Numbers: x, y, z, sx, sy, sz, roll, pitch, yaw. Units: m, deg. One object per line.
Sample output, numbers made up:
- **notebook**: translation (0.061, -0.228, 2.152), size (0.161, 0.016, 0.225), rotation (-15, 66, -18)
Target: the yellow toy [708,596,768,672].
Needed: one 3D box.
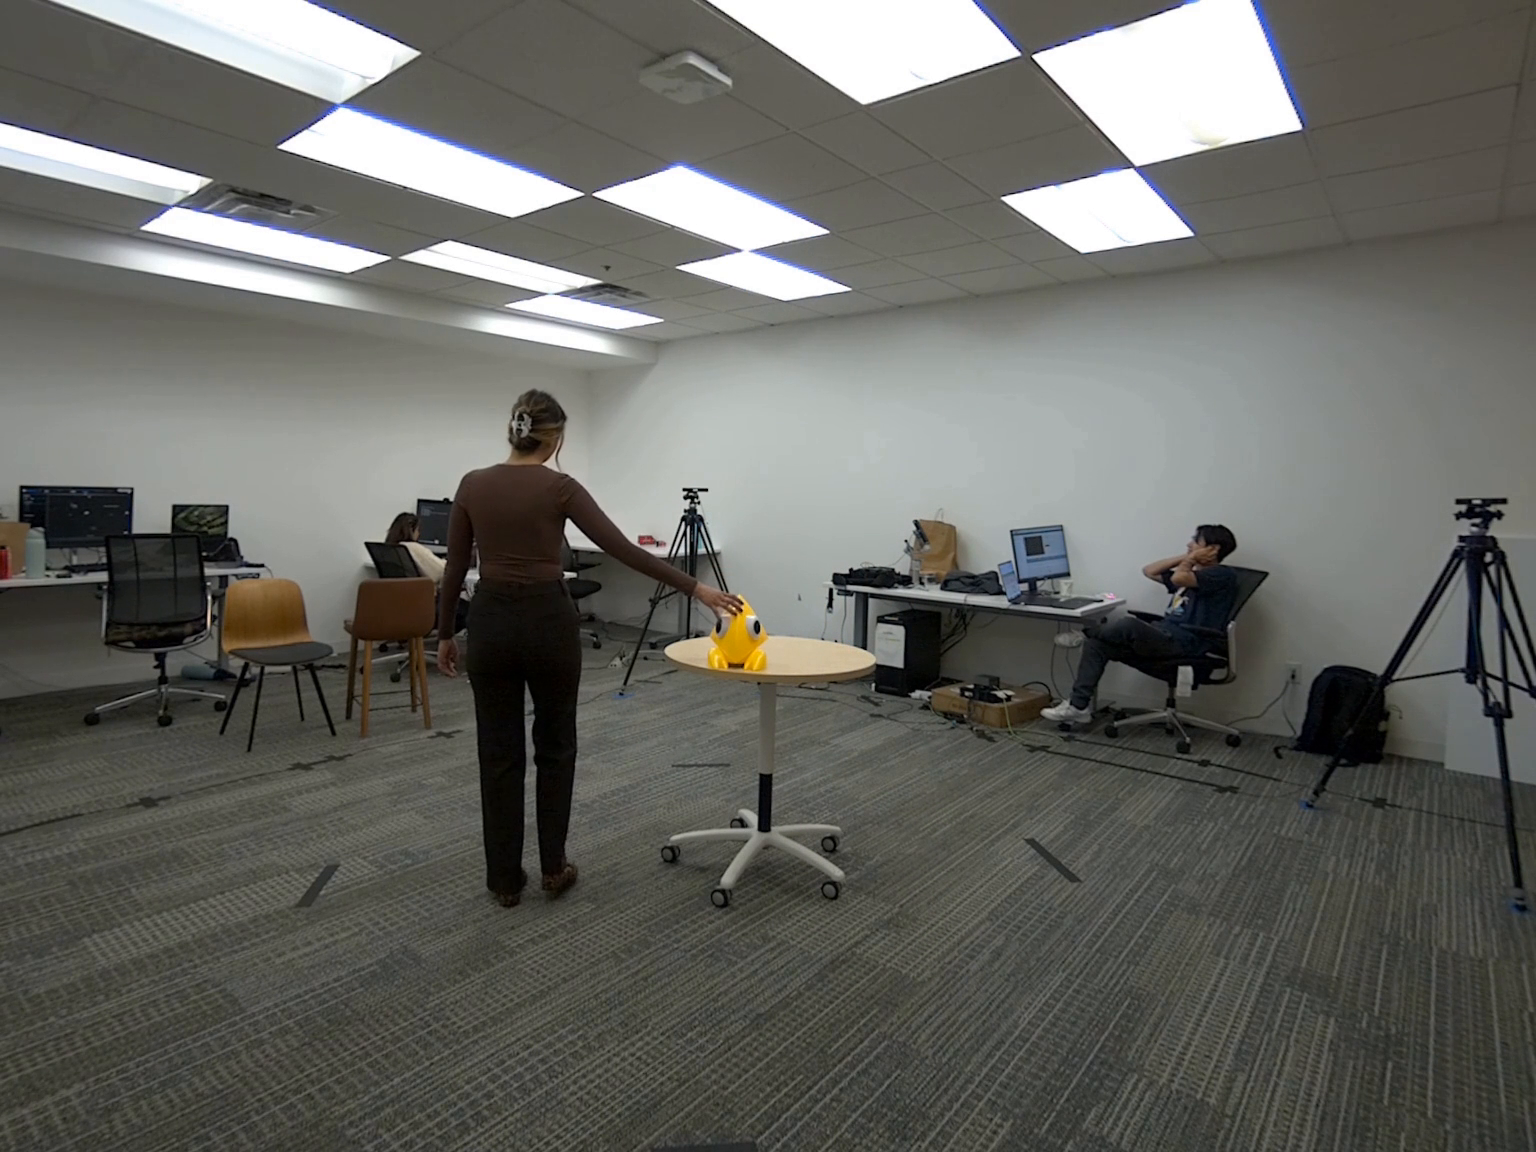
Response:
- **yellow toy**: translation (-0.111, 0.184, 2.851), size (0.206, 0.230, 0.193), rotation (1, 3, 3)
